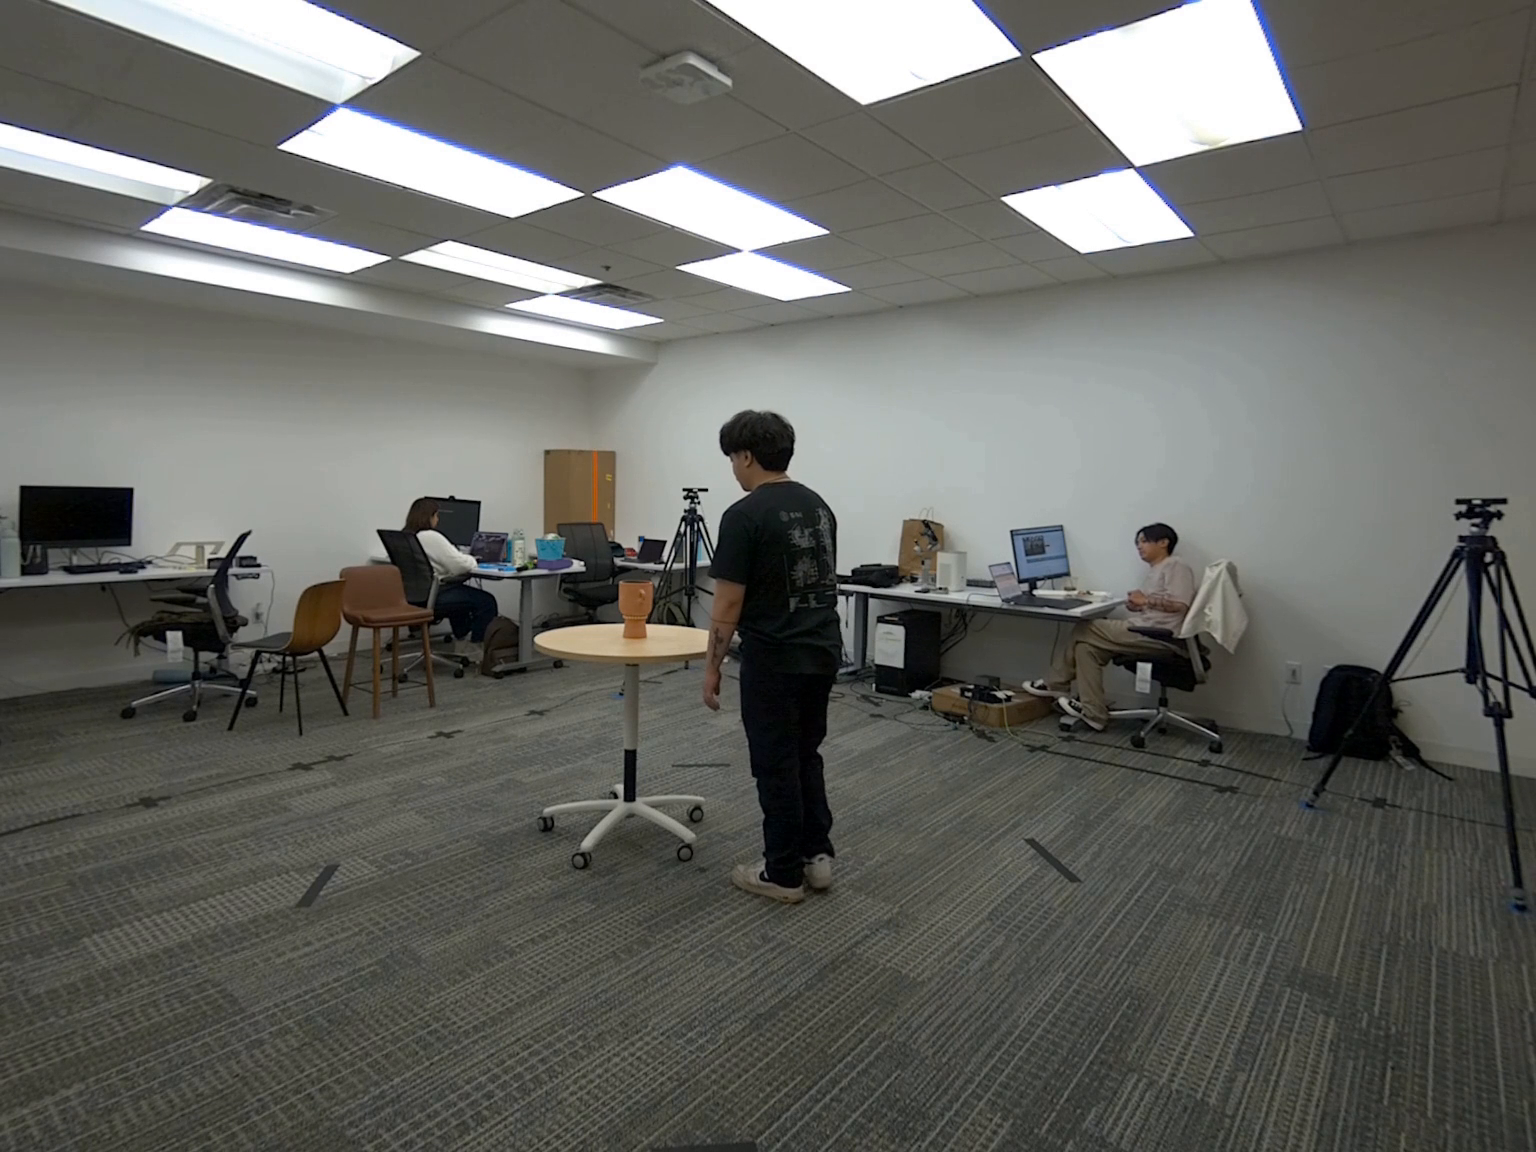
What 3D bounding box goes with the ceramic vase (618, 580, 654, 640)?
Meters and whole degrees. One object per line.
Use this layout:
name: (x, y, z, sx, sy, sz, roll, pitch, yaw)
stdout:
ceramic vase: (-0.551, 0.133, 3.415, 0.136, 0.219, 0.157, 2, 3, 11)
